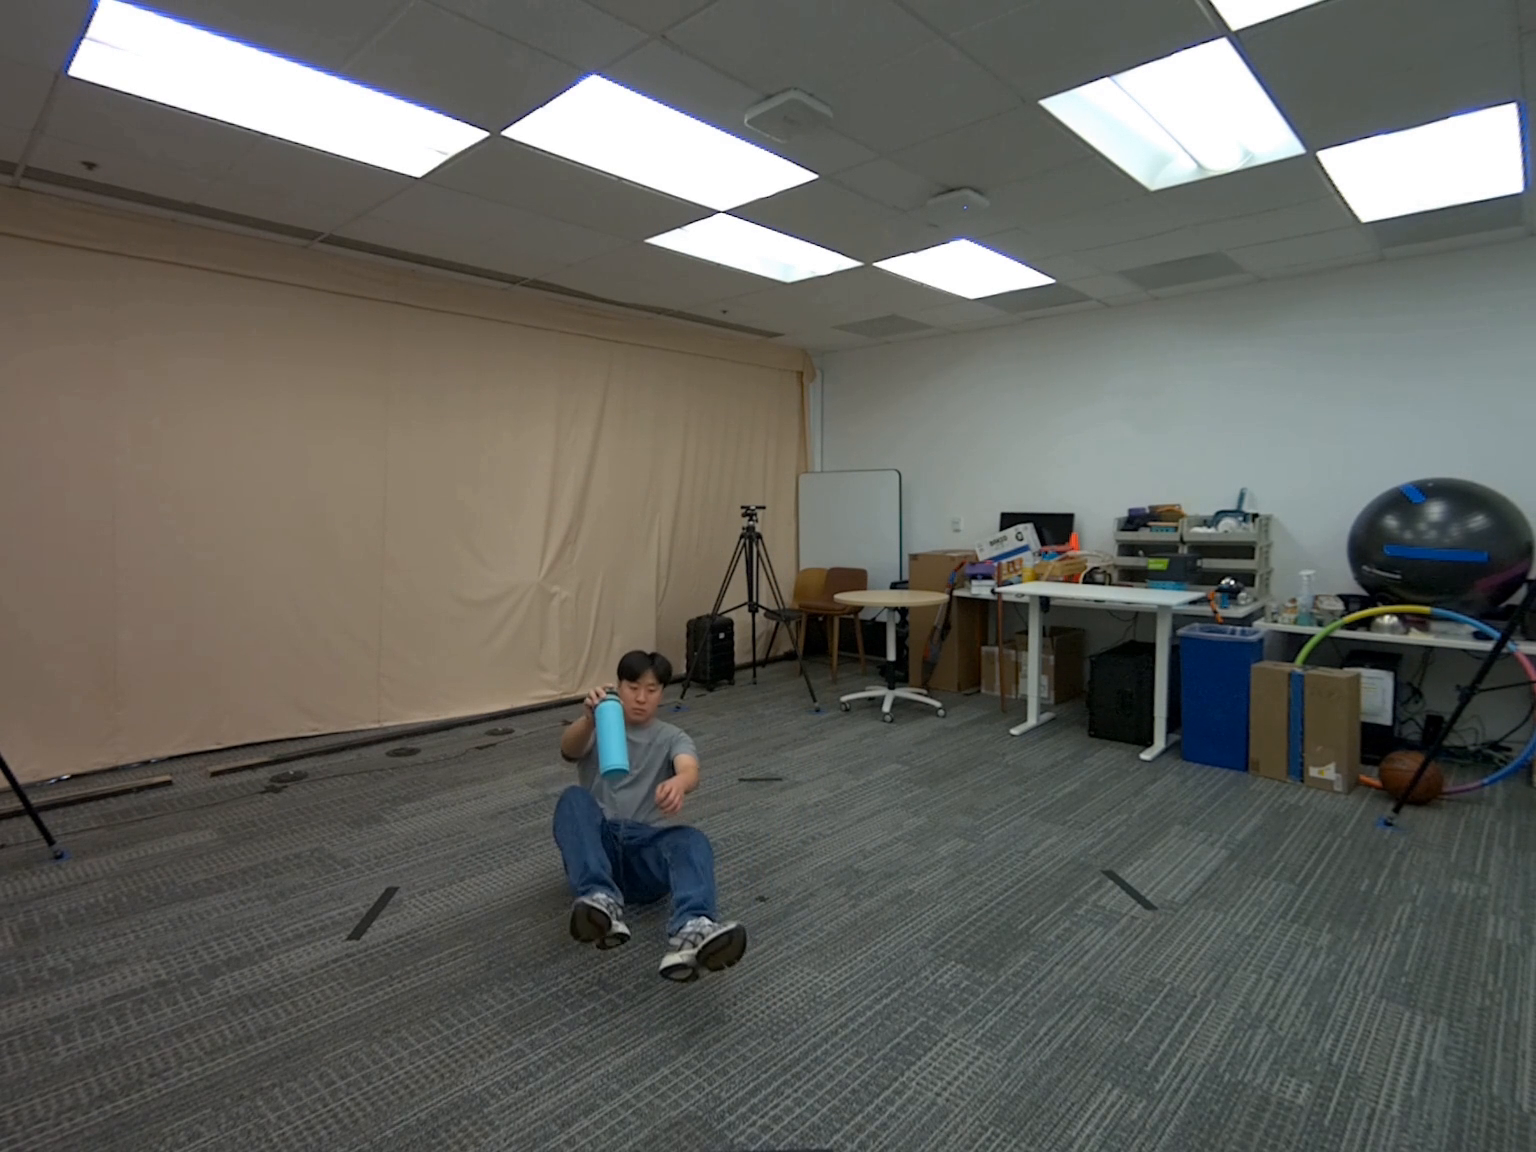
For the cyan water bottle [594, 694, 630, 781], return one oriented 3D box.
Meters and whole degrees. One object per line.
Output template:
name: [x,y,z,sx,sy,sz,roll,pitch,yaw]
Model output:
cyan water bottle: [-0.477,0.496,2.594,0.092,0.290,0.091,-7,-37,-7]
